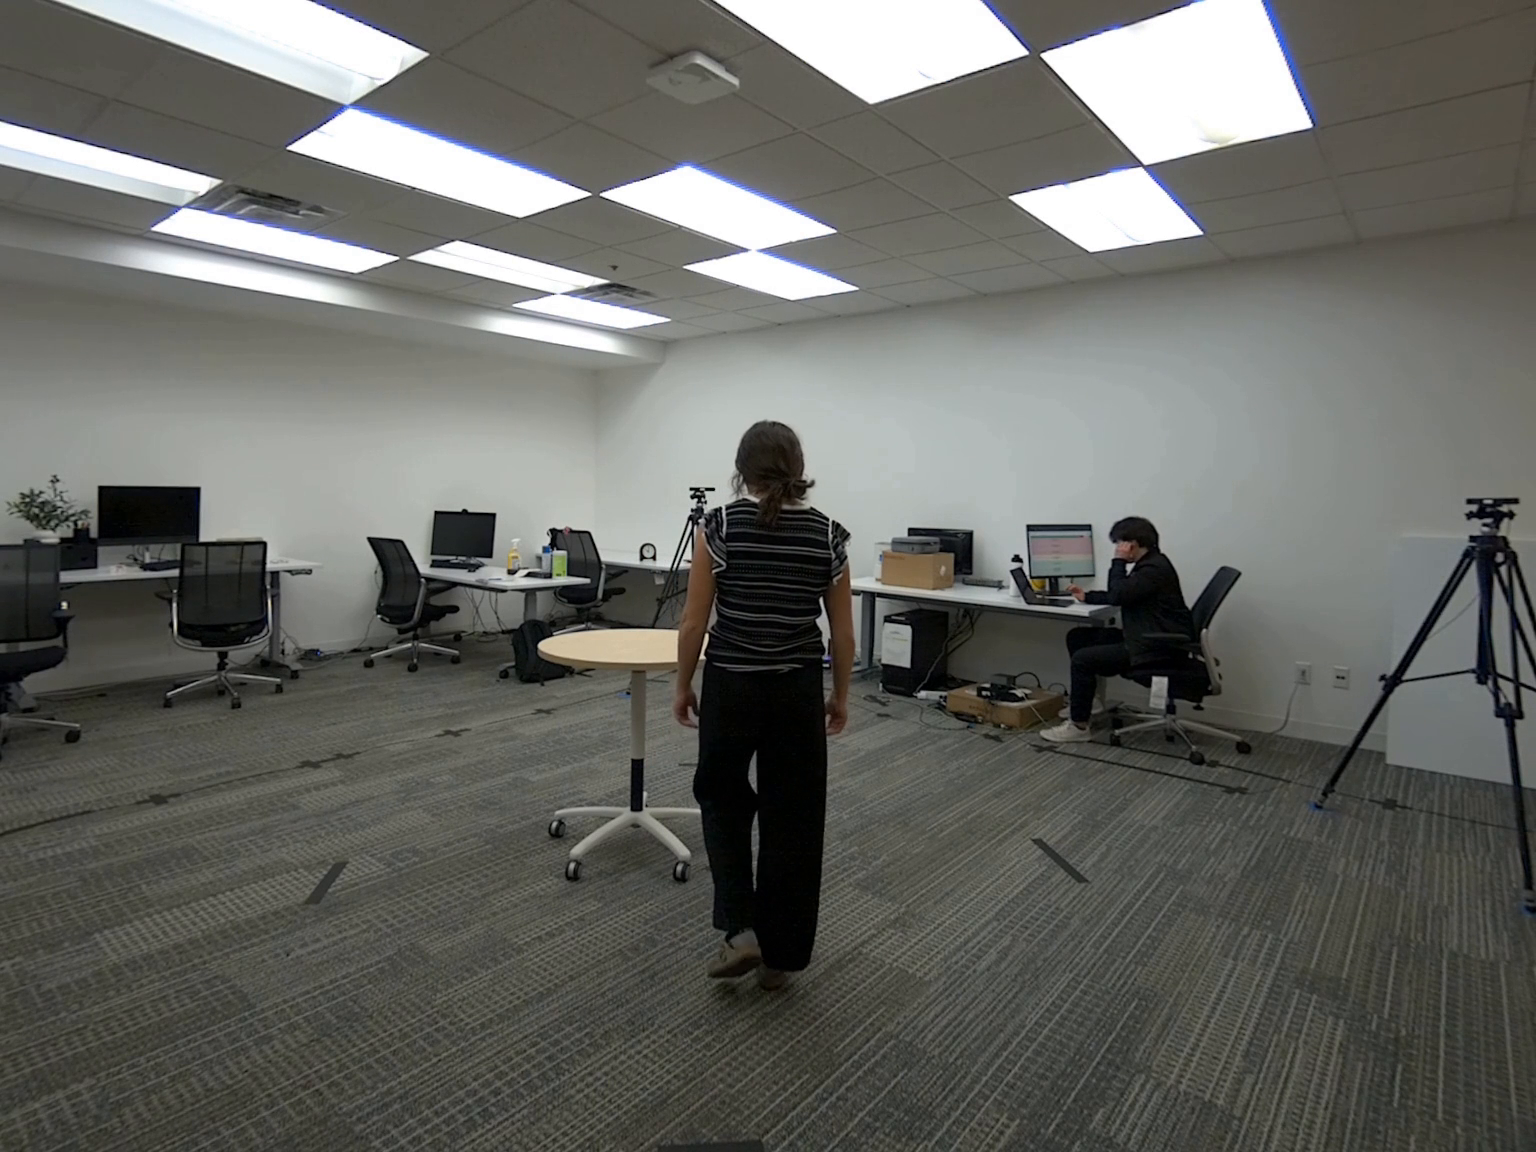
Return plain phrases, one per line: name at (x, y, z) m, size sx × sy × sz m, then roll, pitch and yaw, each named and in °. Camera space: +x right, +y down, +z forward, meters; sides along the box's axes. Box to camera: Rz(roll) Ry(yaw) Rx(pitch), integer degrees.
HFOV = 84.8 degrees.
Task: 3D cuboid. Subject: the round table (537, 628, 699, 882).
round table at (-0.503, 0.651, 3.275) m, size 0.784 × 0.784 × 0.789 m, roll 0°, pitch 4°, yaw -2°
